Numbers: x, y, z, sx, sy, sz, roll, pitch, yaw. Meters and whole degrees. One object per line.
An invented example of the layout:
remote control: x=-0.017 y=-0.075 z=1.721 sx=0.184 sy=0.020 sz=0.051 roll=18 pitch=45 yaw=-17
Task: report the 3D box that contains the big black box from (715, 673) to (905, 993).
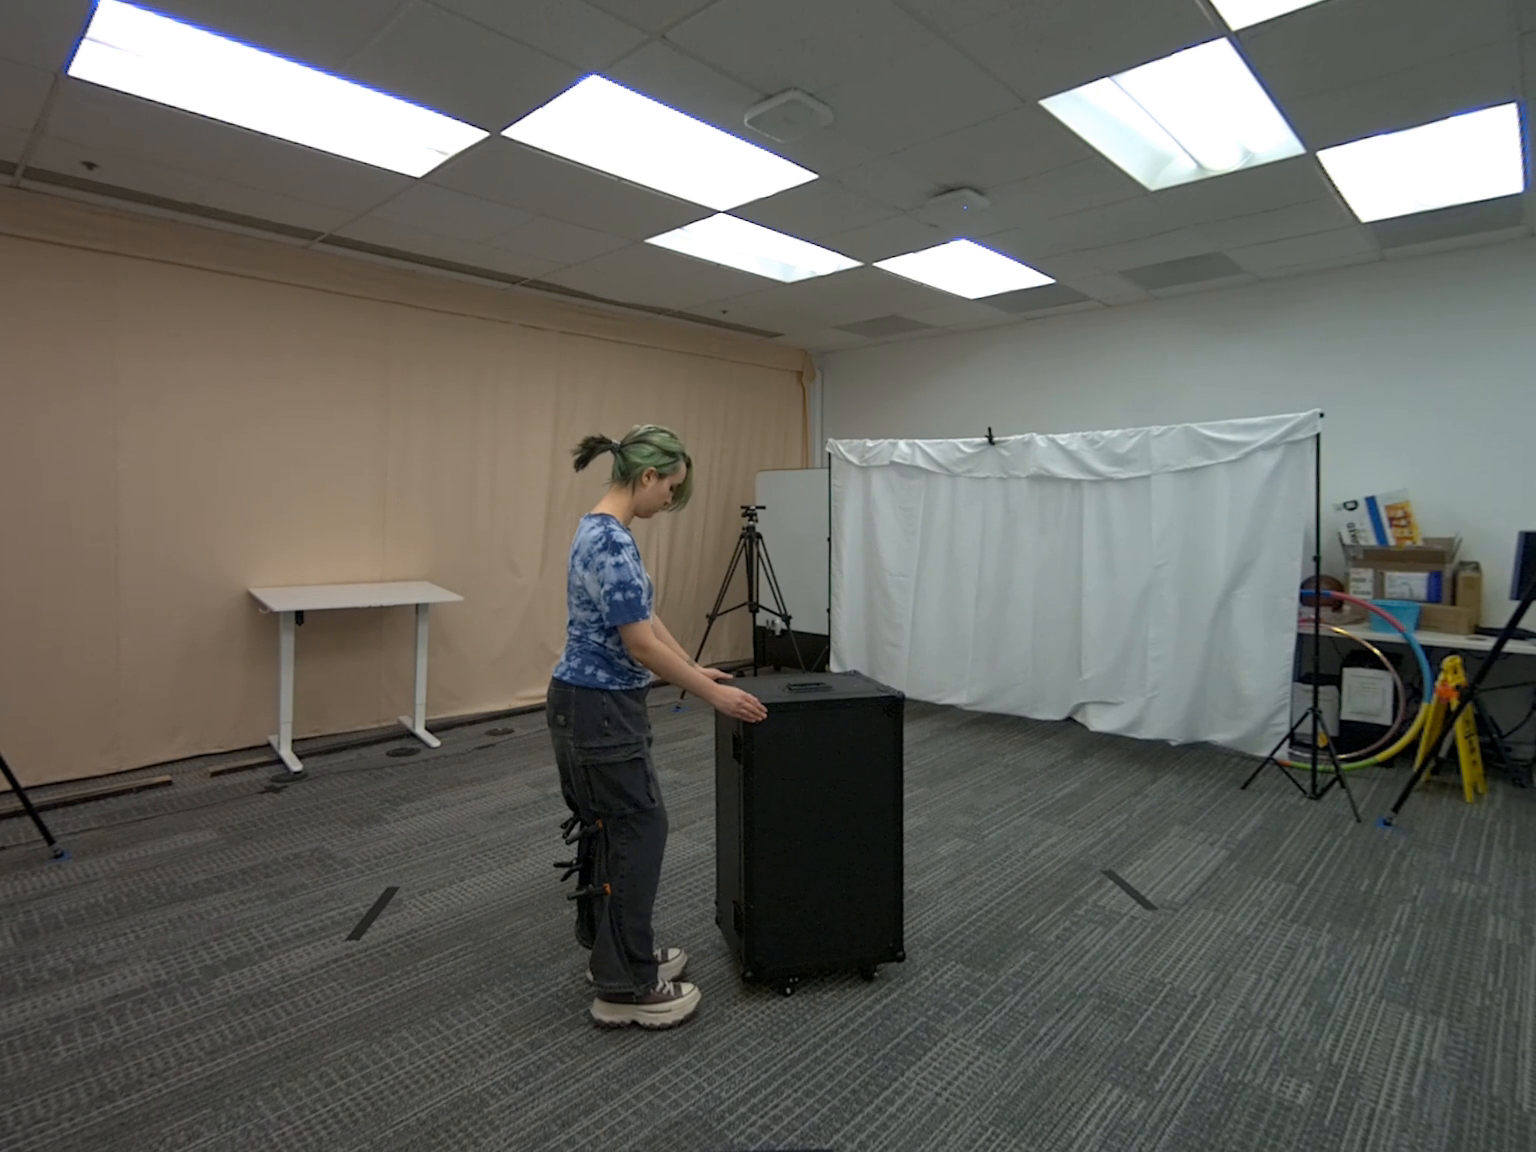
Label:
big black box: x=0.111 y=0.762 z=2.549 sx=0.514 sy=0.860 sz=0.403 roll=-1 pitch=2 yaw=-14
